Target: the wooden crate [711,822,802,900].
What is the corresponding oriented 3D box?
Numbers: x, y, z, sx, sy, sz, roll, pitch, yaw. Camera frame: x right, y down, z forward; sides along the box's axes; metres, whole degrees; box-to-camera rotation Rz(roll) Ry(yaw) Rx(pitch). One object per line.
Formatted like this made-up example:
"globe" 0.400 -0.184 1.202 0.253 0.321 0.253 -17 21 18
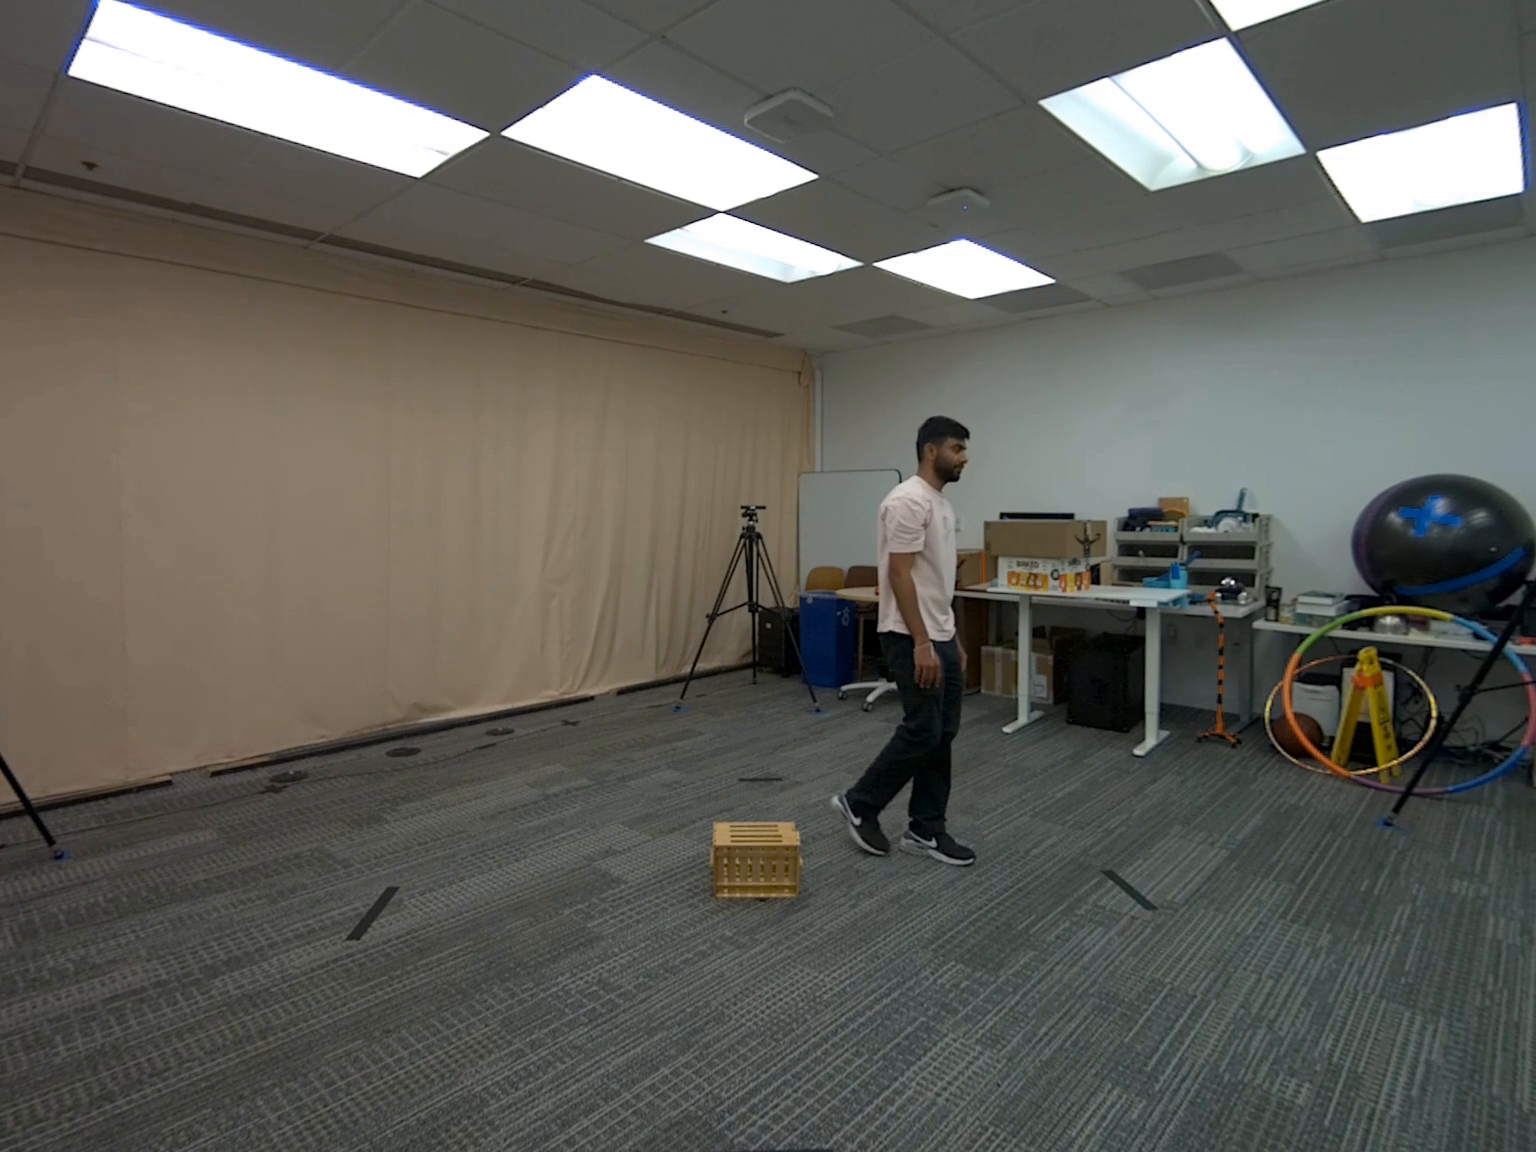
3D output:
"wooden crate" -0.045 1.003 3.078 0.324 0.298 0.276 0 20 -1
